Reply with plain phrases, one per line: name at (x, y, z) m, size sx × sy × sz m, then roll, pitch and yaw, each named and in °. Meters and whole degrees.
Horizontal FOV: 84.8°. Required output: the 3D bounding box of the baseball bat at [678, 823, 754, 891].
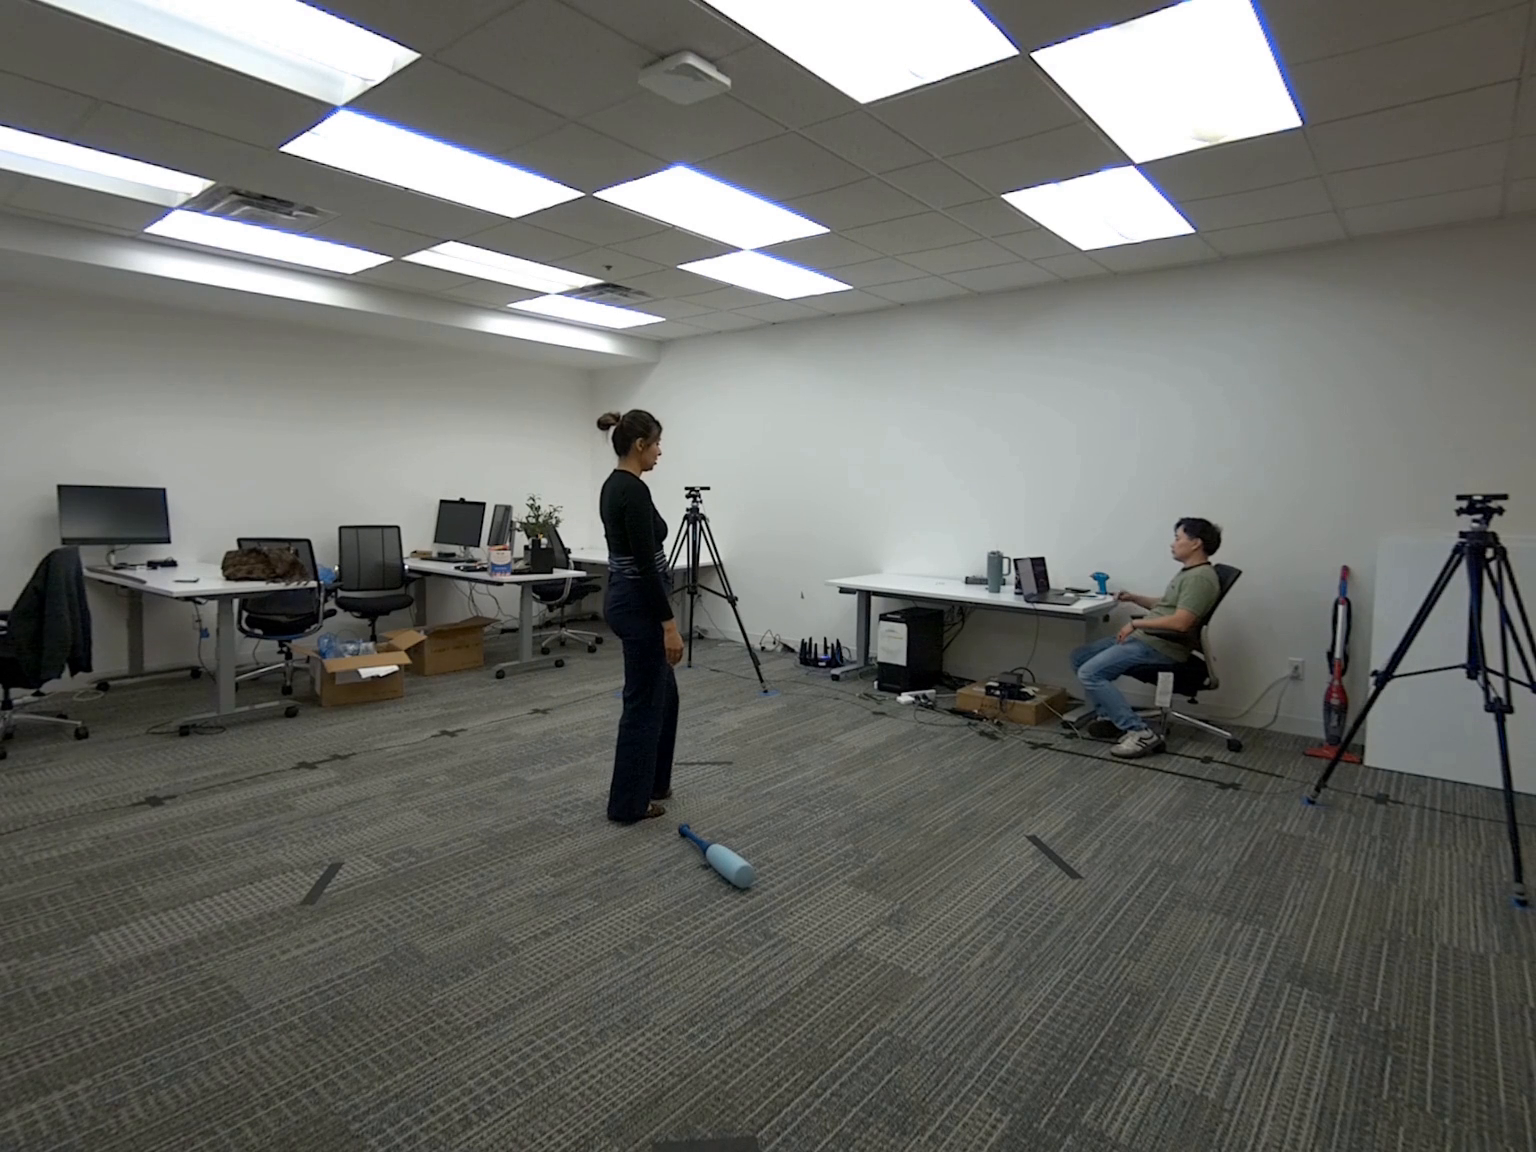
baseball bat at (-0.220, 1.026, 3.162) m, size 0.087 × 0.089 × 0.557 m, roll -1°, pitch 2°, yaw -28°
